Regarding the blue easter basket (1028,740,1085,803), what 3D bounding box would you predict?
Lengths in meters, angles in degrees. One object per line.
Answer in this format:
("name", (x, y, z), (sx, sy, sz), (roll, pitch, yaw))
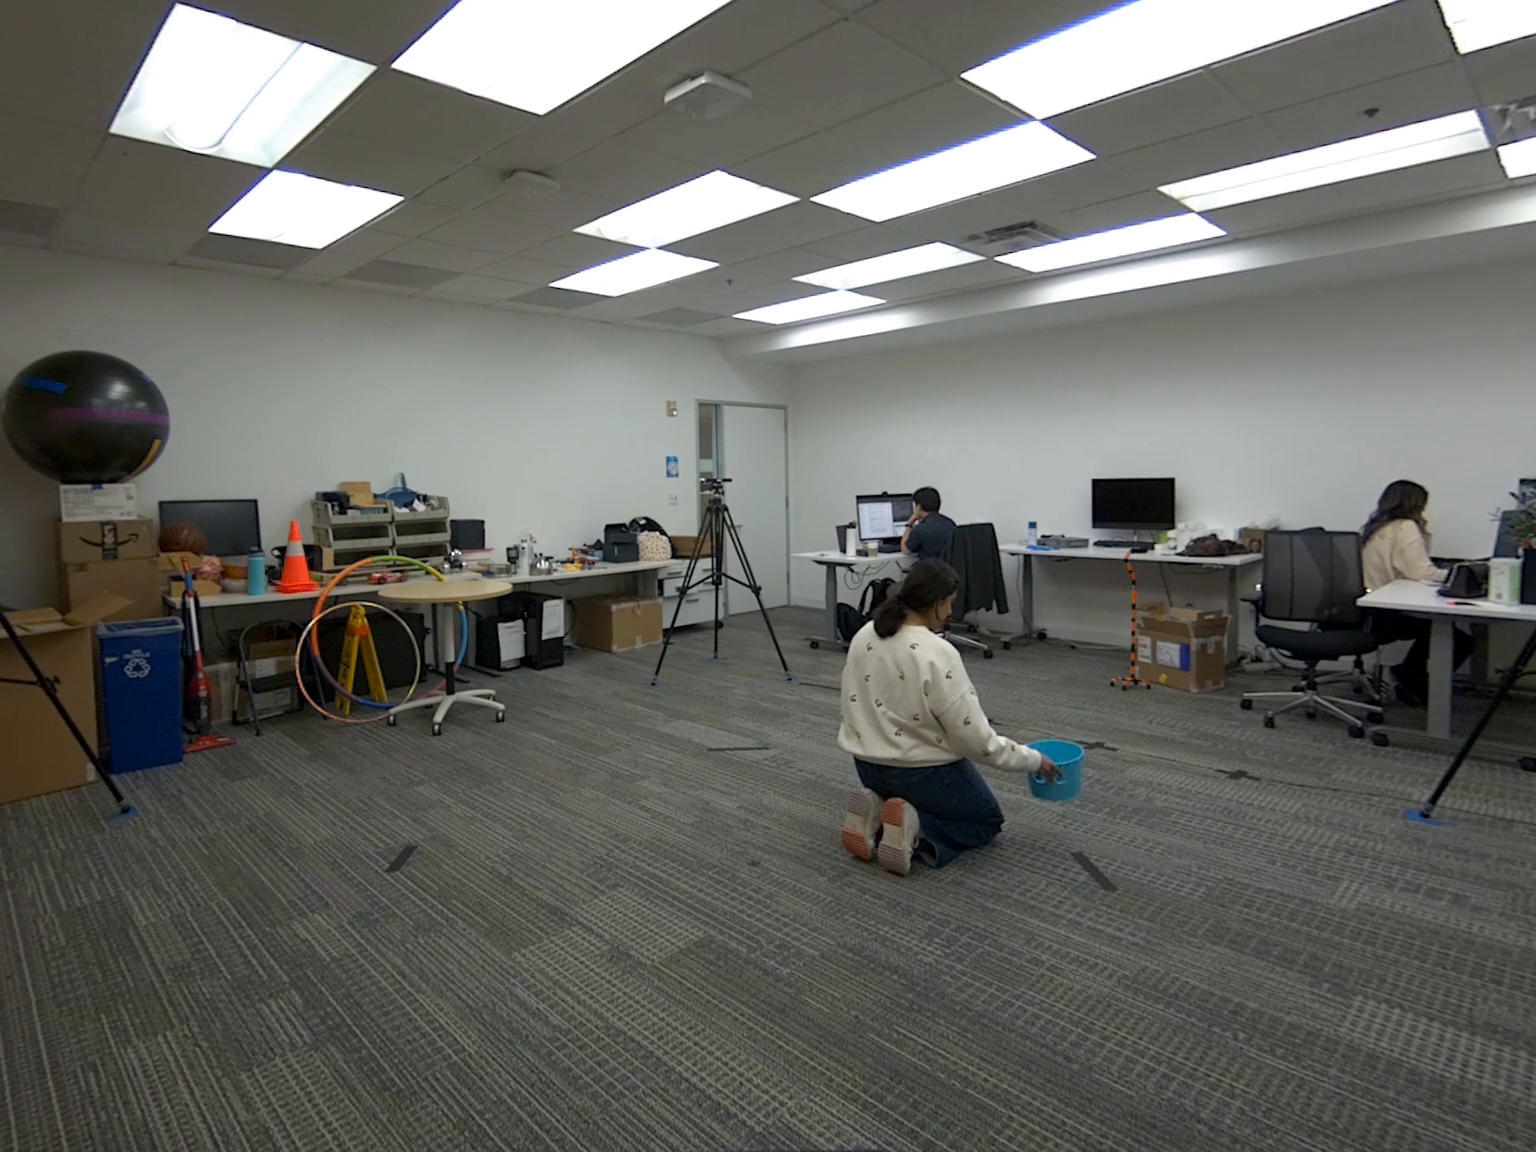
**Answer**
("blue easter basket", (1.062, 0.723, 3.186), (0.244, 0.154, 0.246), (-8, 10, 0))
